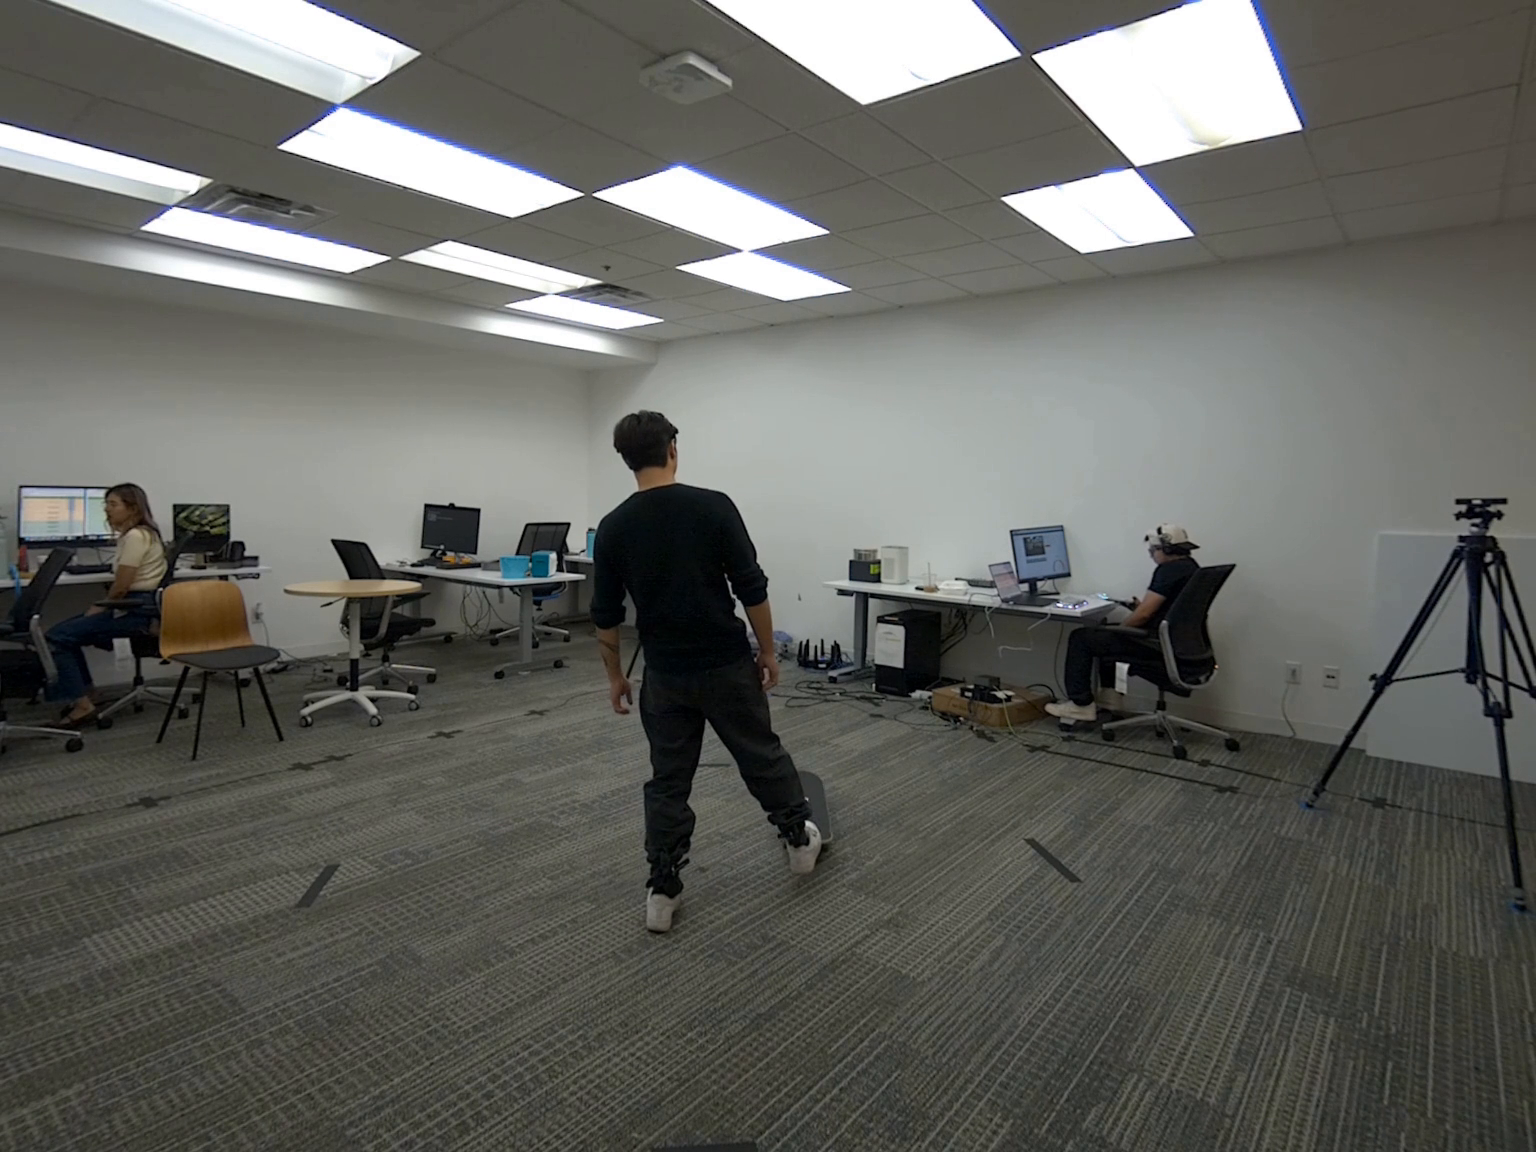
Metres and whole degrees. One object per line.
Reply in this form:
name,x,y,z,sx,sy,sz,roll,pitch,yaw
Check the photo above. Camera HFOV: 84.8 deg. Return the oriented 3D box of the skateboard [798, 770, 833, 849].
skateboard,0.143,0.975,3.513,0.194,0.110,0.788,1,6,0
